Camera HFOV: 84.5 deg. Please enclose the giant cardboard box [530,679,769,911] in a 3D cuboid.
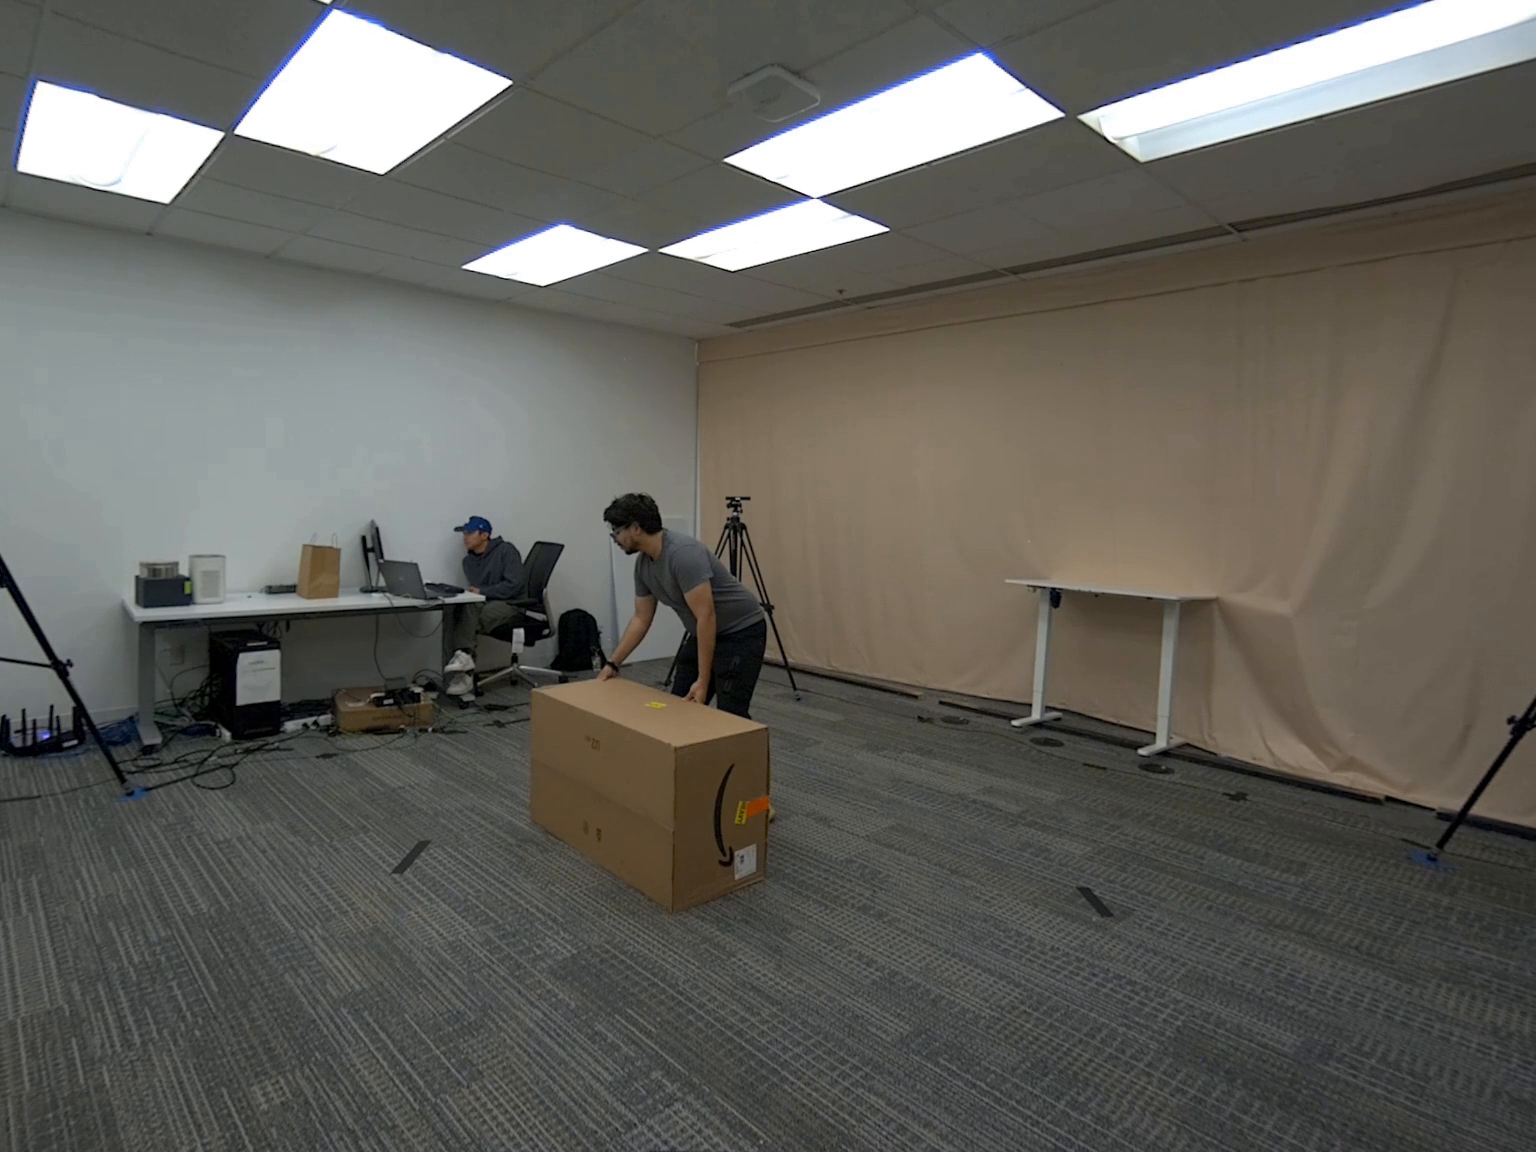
[{"bbox_3d":[-0.510,0.795,3.308,0.416,0.576,1.052,-3,6,-41],"label":"giant cardboard box"}]
